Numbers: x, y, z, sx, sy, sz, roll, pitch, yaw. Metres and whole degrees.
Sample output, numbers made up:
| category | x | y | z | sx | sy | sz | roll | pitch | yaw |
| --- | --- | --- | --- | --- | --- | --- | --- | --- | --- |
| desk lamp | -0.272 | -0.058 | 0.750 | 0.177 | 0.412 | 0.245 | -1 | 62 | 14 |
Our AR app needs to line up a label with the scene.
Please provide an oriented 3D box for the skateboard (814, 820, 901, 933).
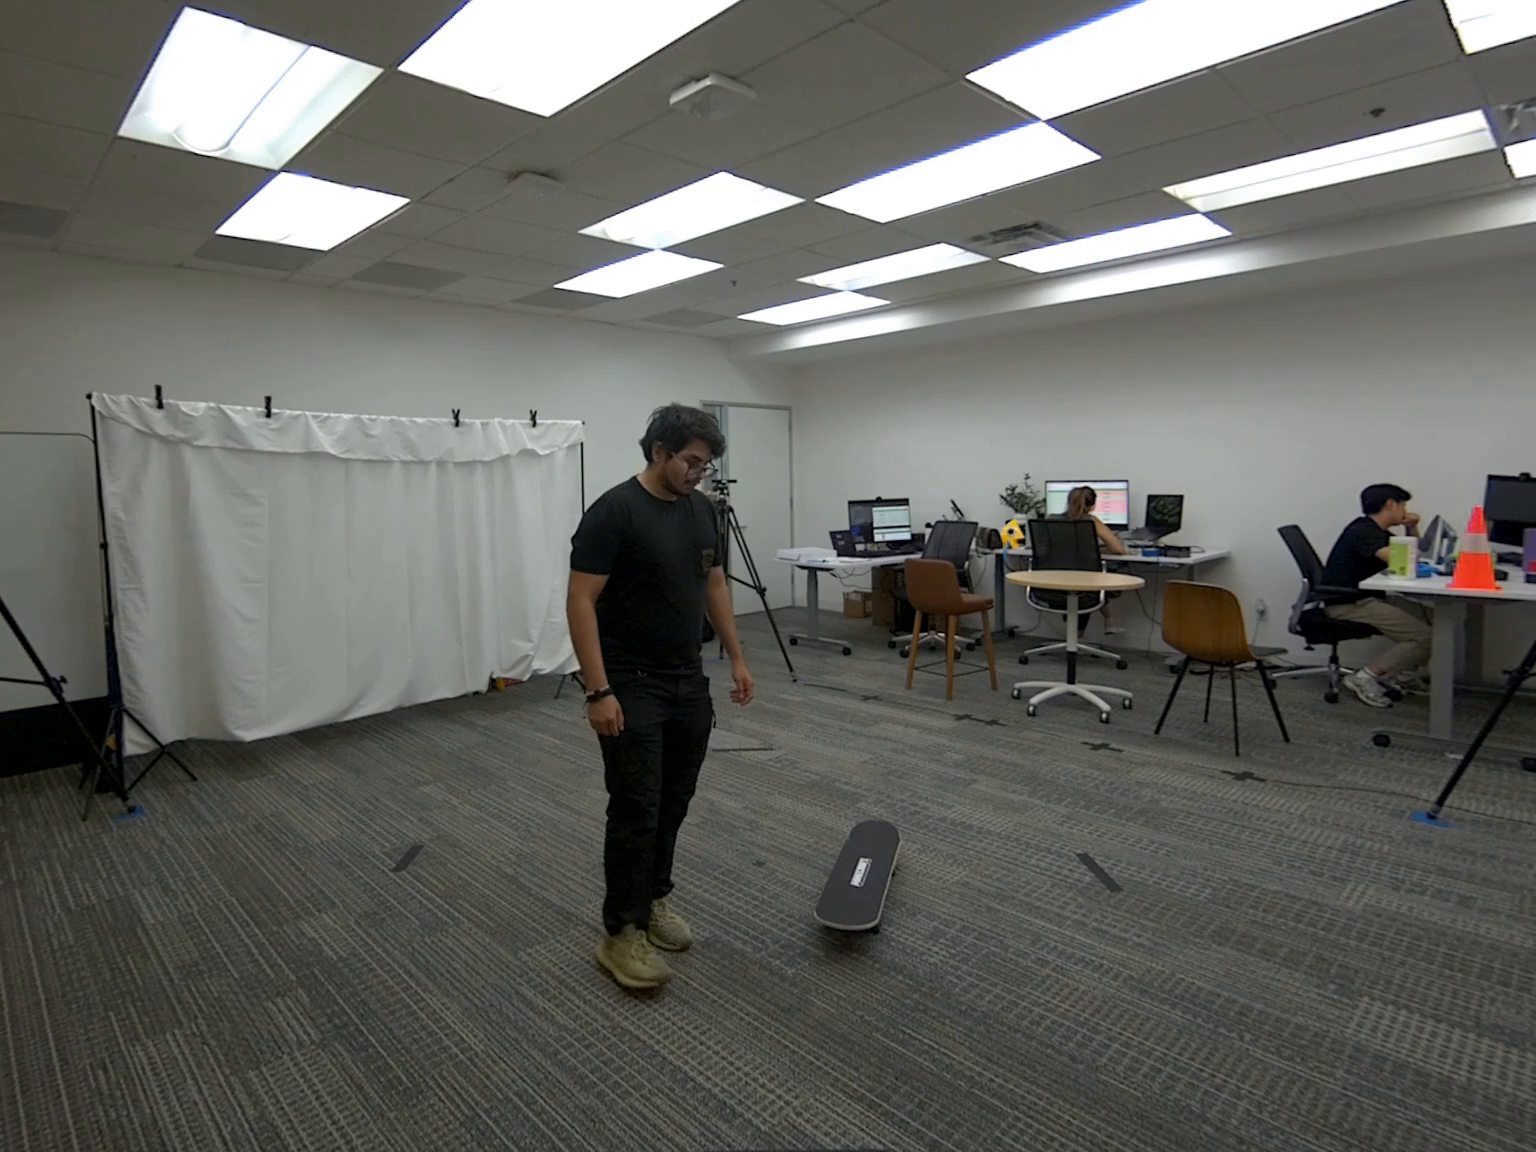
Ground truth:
| category | x | y | z | sx | sy | sz | roll | pitch | yaw |
| --- | --- | --- | --- | --- | --- | --- | --- | --- | --- |
| skateboard | 0.314 | 1.011 | 2.846 | 0.196 | 0.110 | 0.777 | 0 | 7 | 15 |
